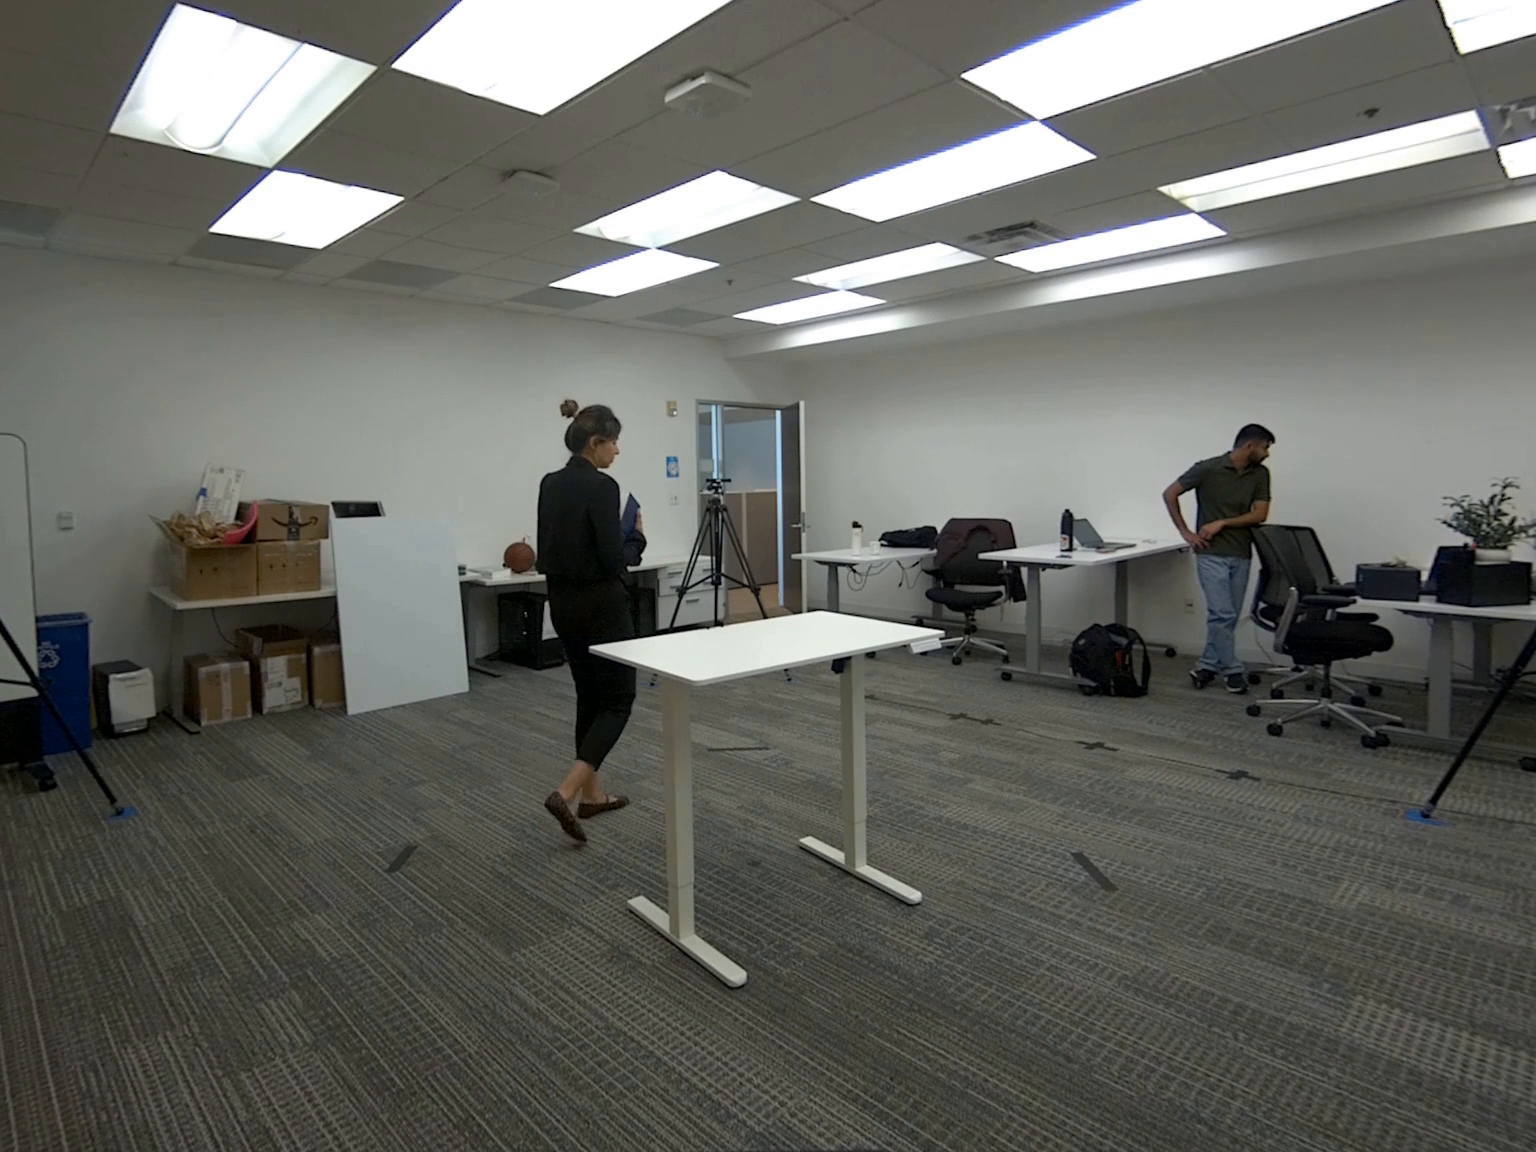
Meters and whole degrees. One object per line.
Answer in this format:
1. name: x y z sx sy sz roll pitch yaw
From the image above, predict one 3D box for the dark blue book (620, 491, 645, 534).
1. dark blue book: -0.570 -0.190 3.390 0.046 0.247 0.159 11 -15 14
